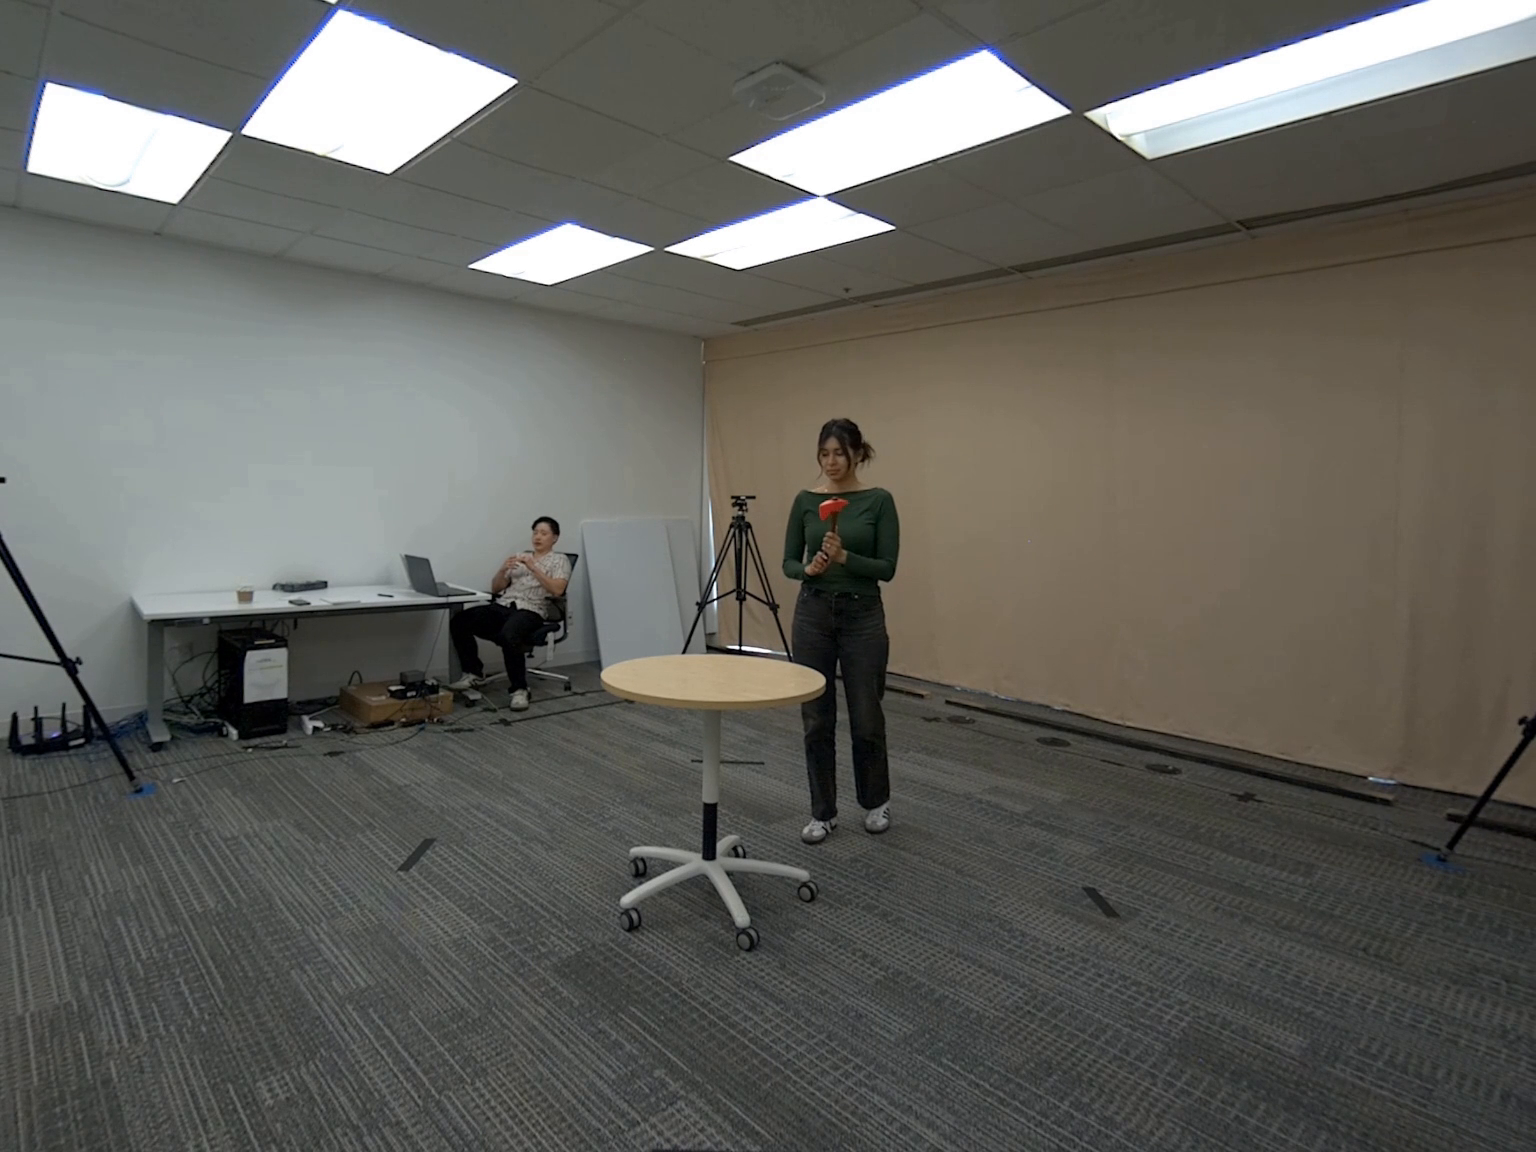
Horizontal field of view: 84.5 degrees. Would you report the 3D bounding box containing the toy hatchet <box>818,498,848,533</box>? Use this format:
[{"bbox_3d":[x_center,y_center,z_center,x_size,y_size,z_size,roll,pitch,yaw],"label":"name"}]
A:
[{"bbox_3d":[0.192,-0.174,3.174,0.127,0.268,0.030,9,16,-40],"label":"toy hatchet"}]
